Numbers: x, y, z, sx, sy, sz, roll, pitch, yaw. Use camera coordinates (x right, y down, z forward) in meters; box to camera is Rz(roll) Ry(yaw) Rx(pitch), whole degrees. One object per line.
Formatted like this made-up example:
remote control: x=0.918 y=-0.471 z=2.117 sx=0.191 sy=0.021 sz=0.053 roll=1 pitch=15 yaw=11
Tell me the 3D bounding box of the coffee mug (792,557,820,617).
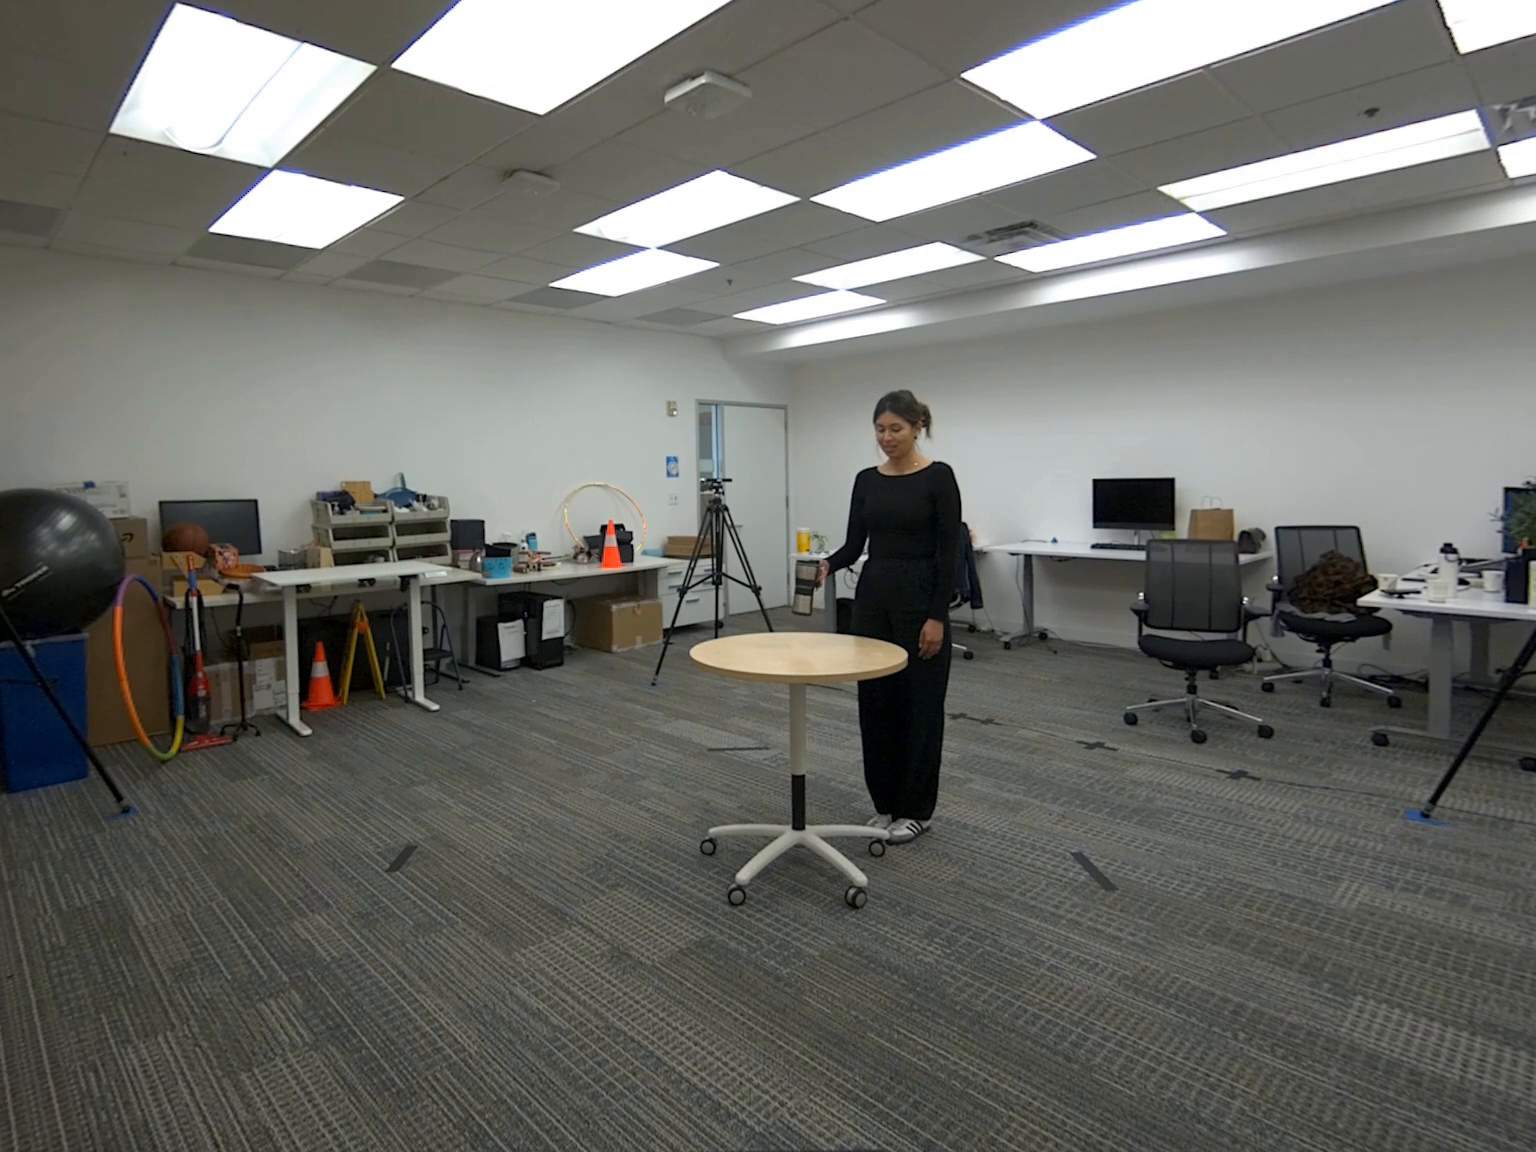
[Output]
coffee mug: x=0.164 y=0.043 z=3.102 sx=0.119 sy=0.203 sz=0.090 roll=2 pitch=0 yaw=-31
